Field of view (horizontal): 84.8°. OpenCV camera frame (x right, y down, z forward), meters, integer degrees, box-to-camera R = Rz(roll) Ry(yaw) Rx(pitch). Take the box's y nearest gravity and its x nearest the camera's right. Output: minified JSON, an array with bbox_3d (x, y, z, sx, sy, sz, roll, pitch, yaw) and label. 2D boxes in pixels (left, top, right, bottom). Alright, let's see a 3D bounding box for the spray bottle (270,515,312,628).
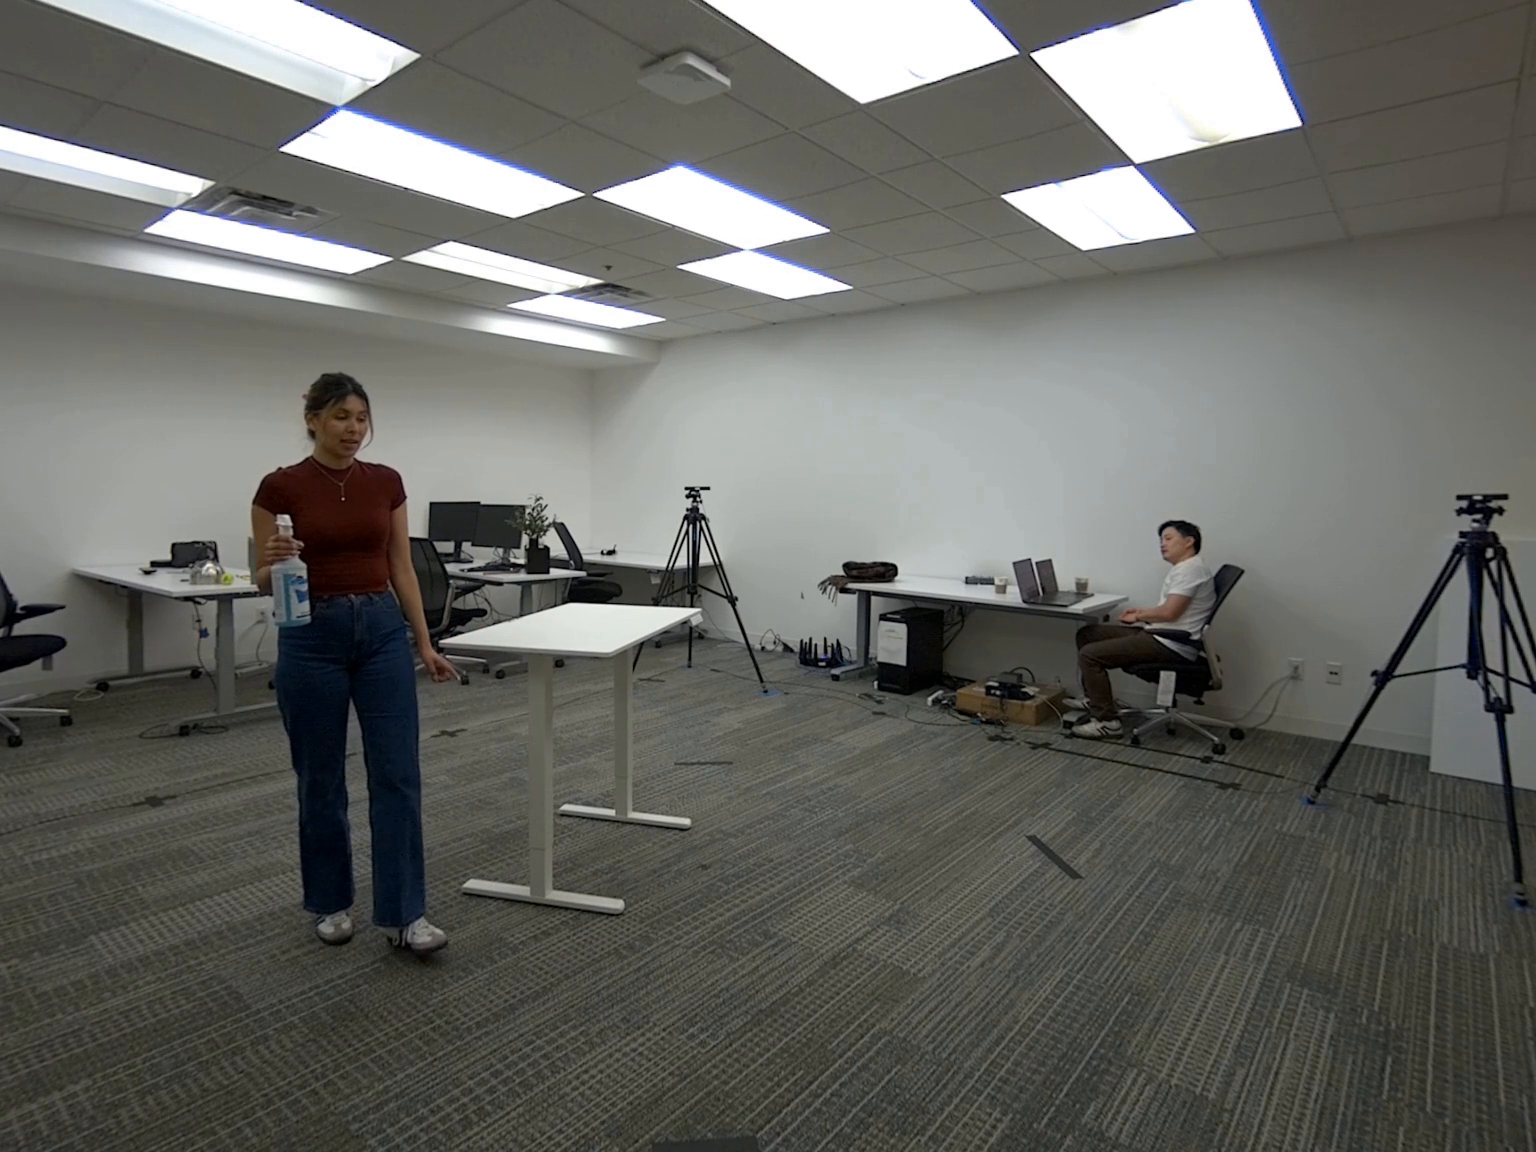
[{"bbox_3d":[-1.305,-0.017,2.263,0.085,0.297,0.091,-1,1,-18],"label":"spray bottle"}]
